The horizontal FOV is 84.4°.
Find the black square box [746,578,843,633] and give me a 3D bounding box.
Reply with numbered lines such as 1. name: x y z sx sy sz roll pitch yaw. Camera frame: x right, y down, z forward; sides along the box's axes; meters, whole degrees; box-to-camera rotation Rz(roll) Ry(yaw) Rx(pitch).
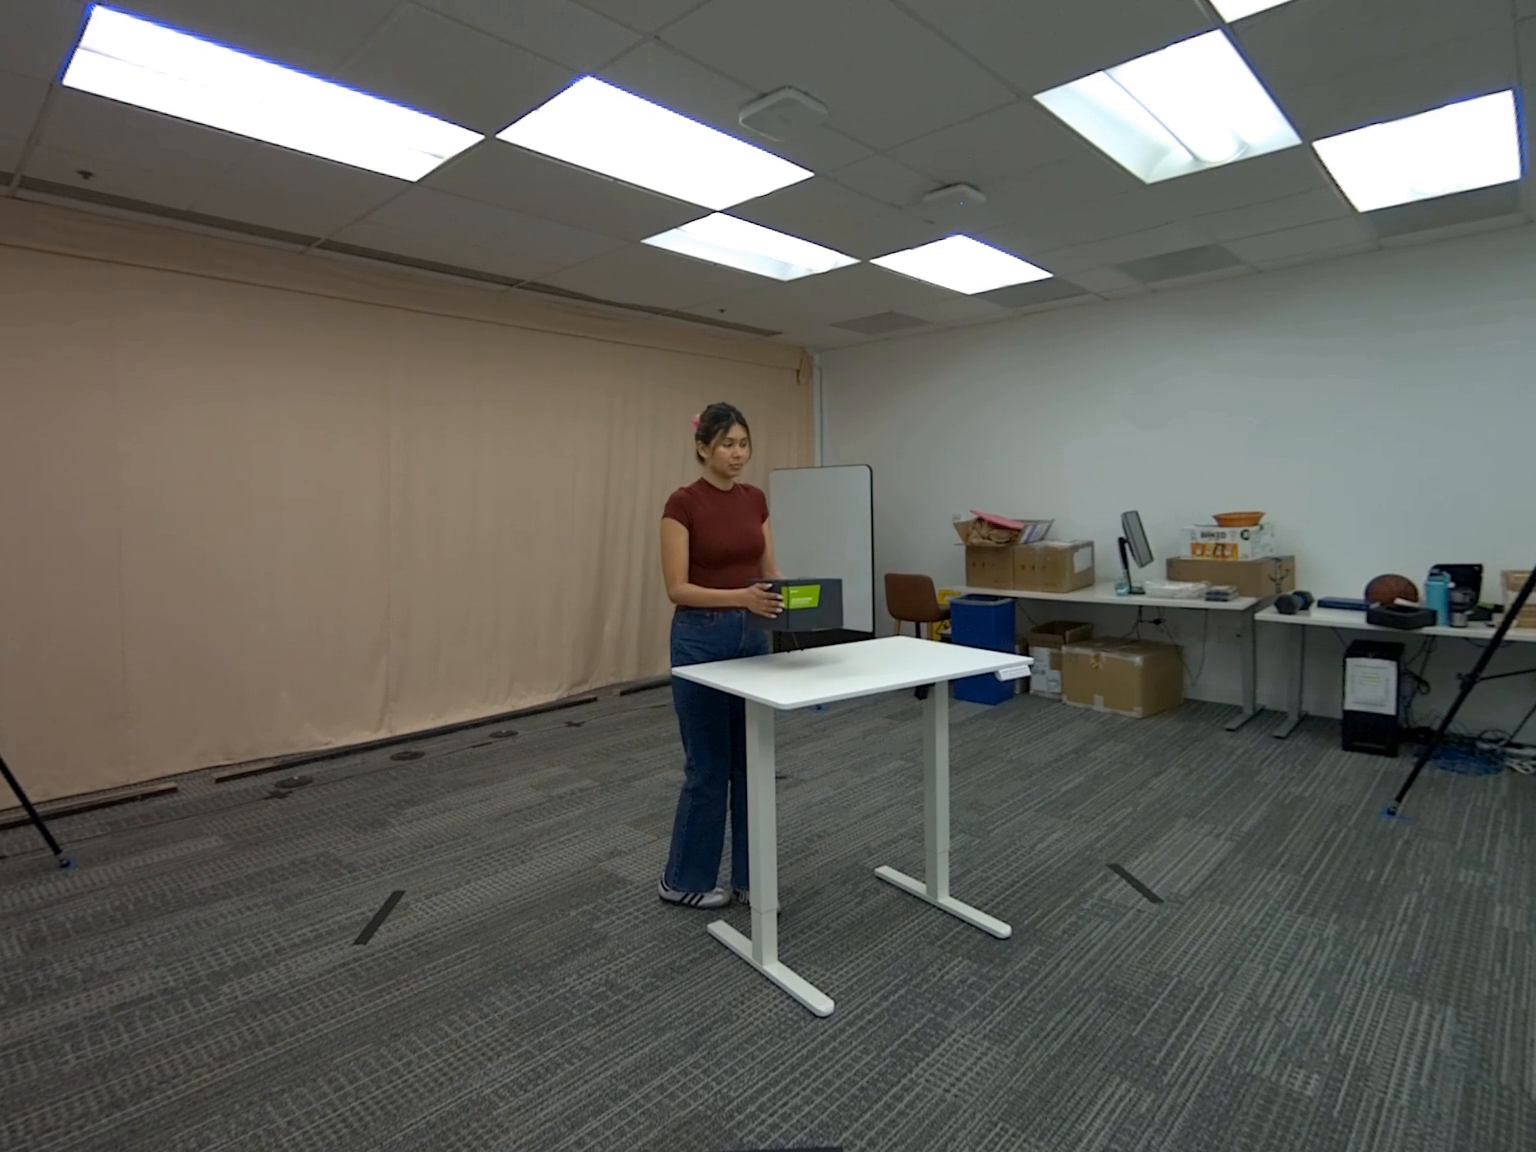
1. black square box: 0.084 0.090 2.668 0.221 0.156 0.223 -1 1 -36
